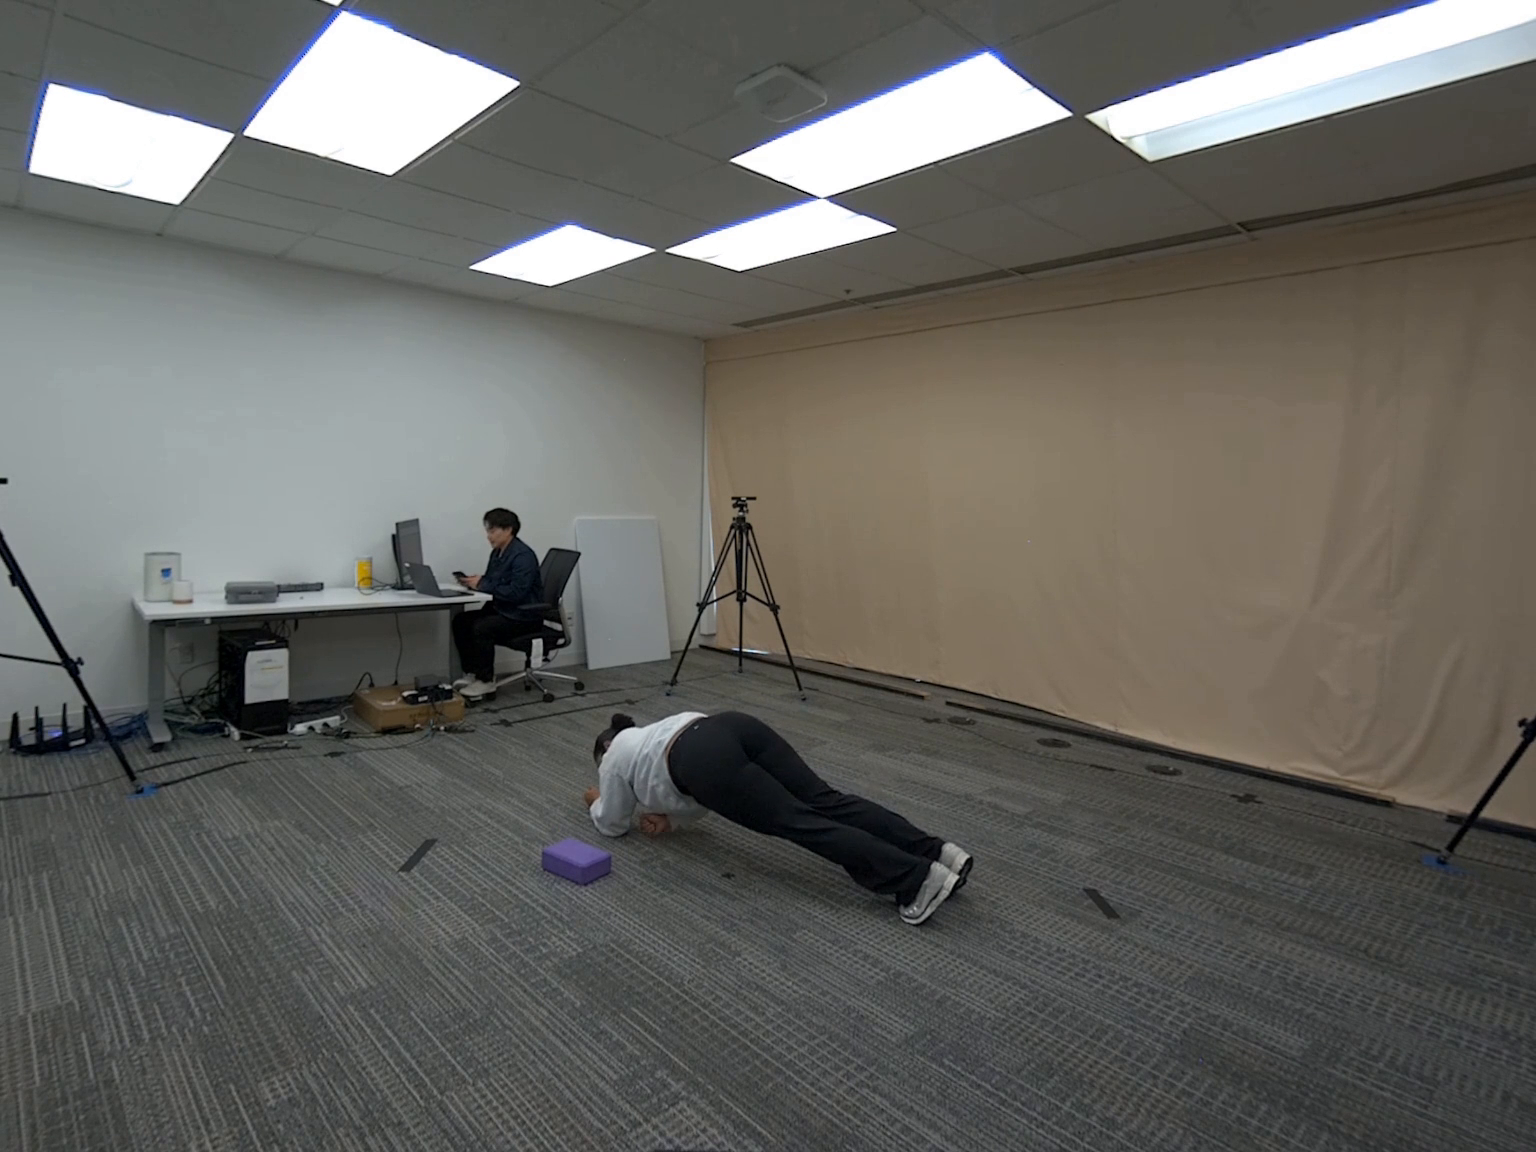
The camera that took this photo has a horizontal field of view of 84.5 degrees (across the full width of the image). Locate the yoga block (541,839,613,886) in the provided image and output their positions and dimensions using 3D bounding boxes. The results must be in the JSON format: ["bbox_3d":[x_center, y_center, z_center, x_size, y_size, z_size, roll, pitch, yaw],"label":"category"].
[{"bbox_3d":[-0.717,1.045,3.114,0.235,0.076,0.146,6,8,35],"label":"yoga block"}]
